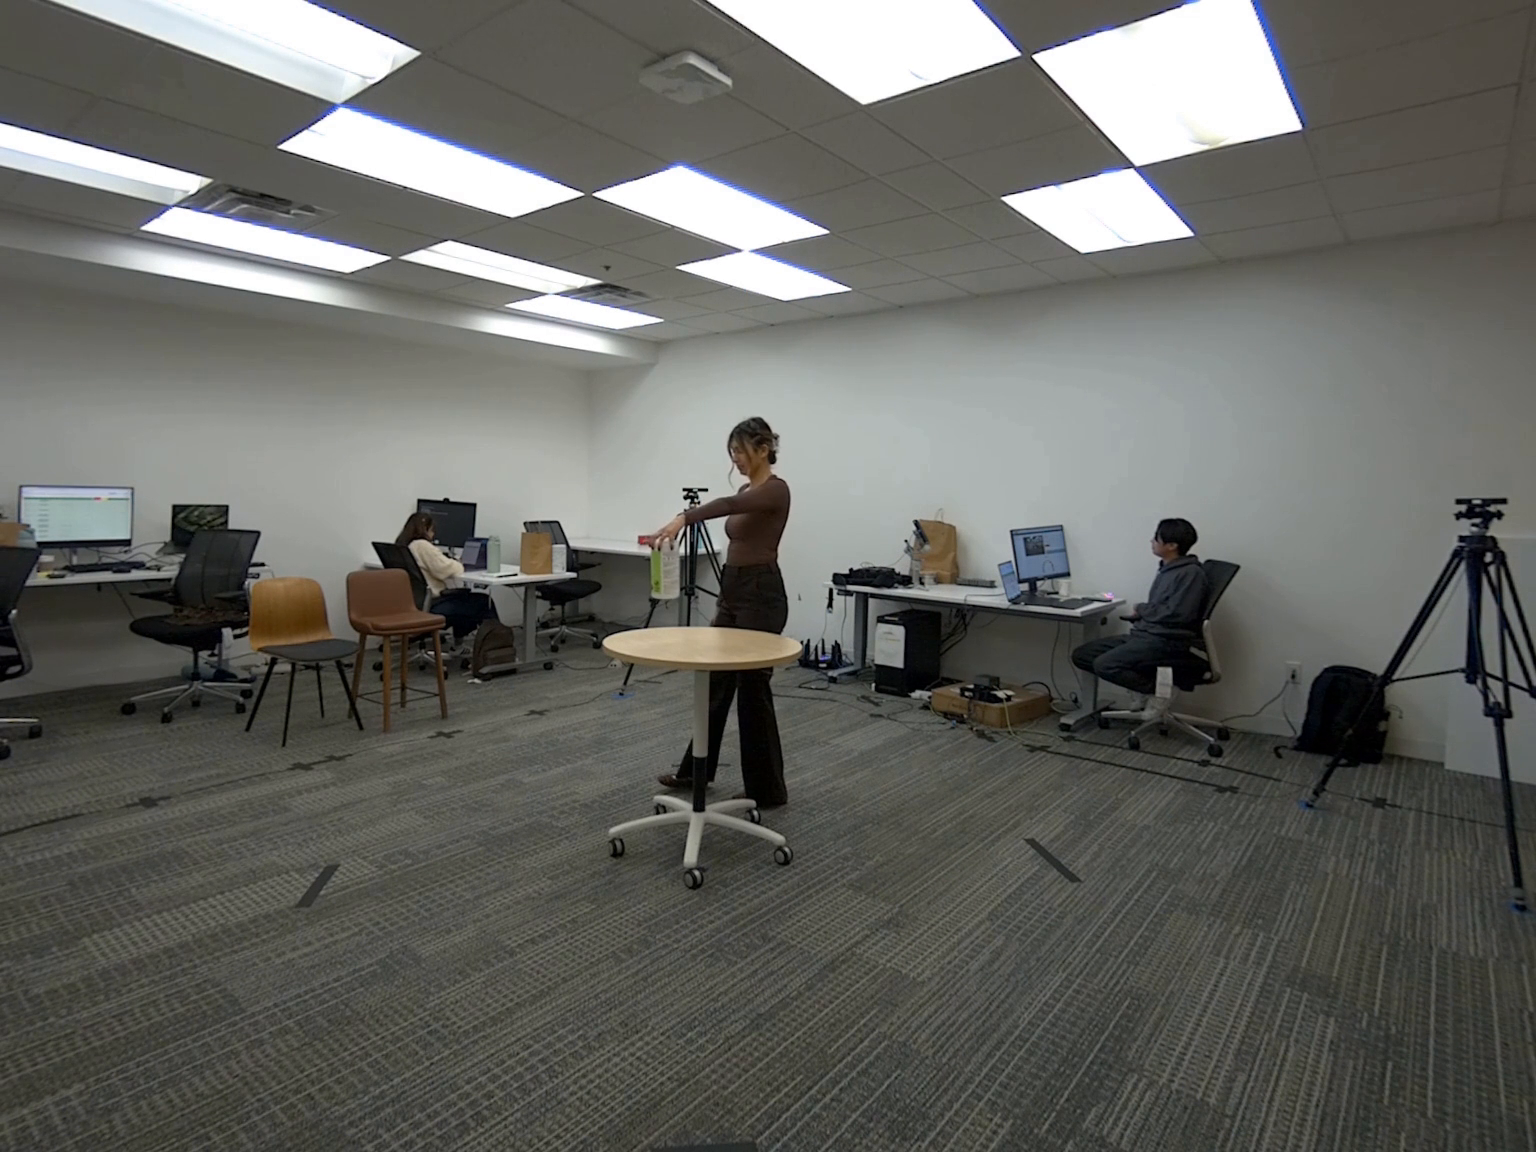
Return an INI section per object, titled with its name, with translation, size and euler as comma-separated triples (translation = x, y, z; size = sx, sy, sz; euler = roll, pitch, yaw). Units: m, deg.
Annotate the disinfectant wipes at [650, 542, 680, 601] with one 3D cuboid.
[disinfectant wipes]
translation = -0.401, -0.028, 3.272
size = 0.118, 0.215, 0.119
euler = -1, 10, -2
